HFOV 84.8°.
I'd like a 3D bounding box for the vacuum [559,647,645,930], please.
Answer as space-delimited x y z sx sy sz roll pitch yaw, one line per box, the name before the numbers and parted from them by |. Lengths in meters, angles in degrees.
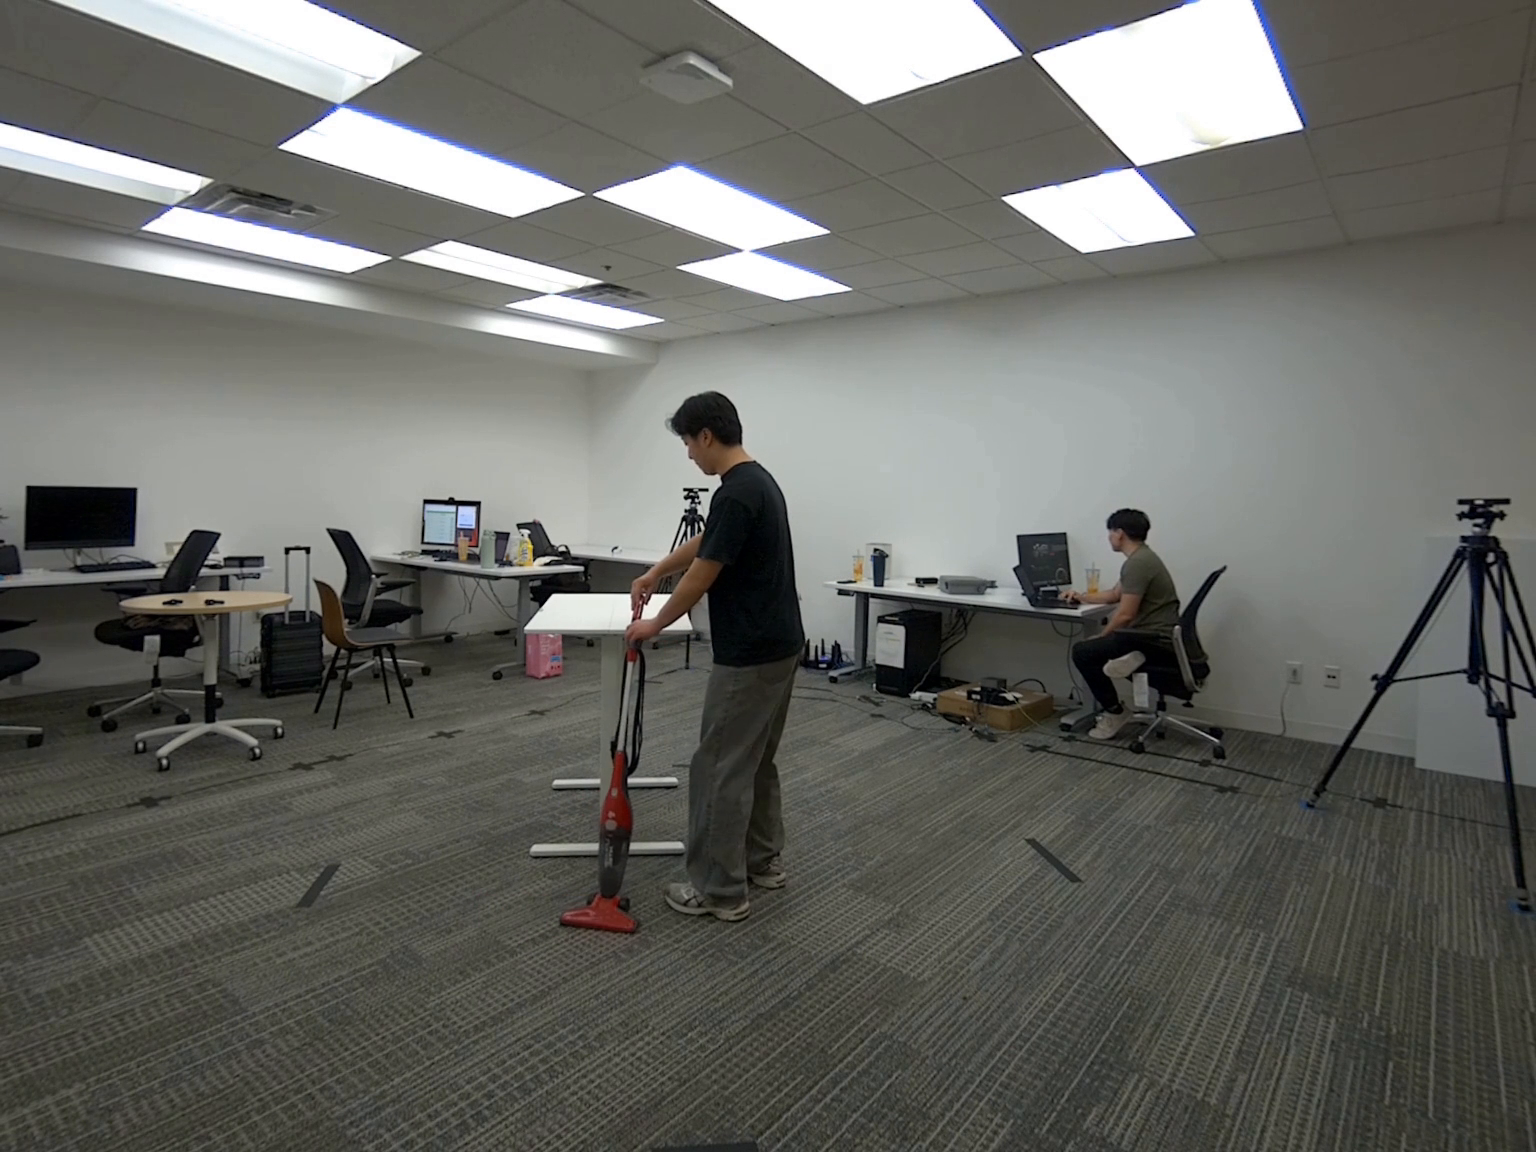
vacuum | -0.496 0.586 2.884 0.255 1.063 0.141 3 -16 8
